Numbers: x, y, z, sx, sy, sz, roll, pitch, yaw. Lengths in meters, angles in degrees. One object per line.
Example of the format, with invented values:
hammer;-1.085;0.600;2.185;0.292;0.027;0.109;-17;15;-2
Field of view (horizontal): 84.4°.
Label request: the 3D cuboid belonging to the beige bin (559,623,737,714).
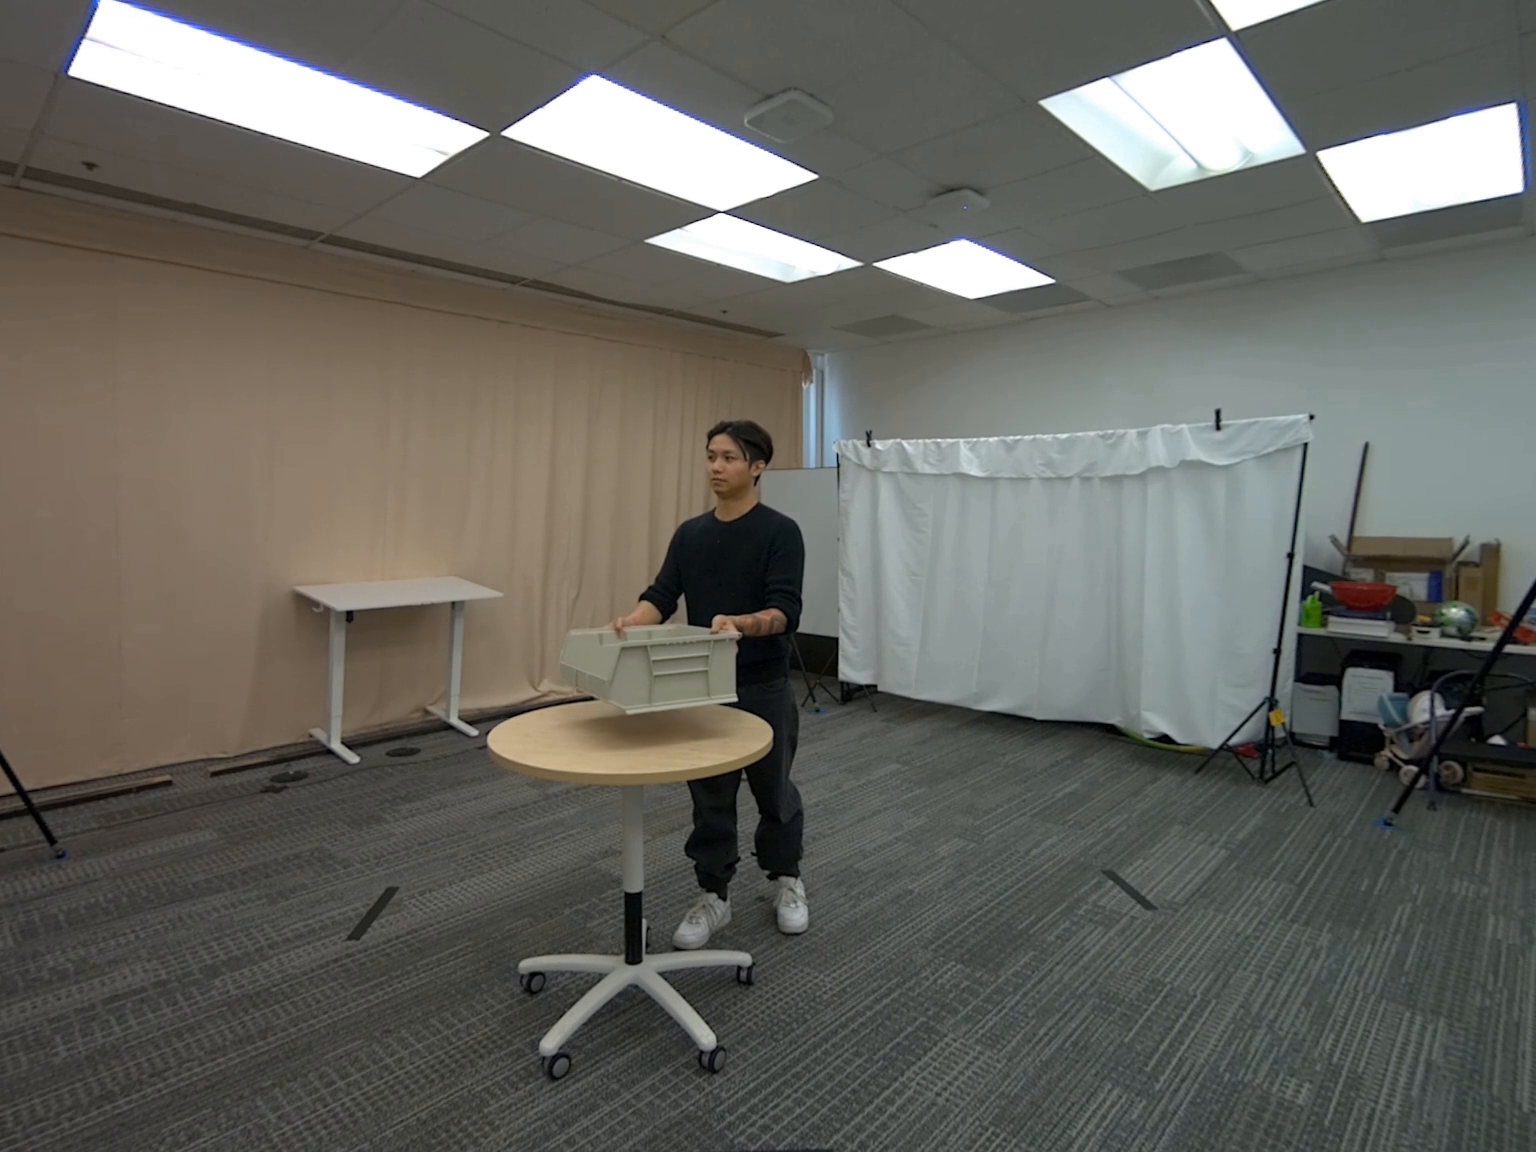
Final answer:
beige bin;-0.339;0.247;2.302;0.367;0.189;0.433;0;0;-28
